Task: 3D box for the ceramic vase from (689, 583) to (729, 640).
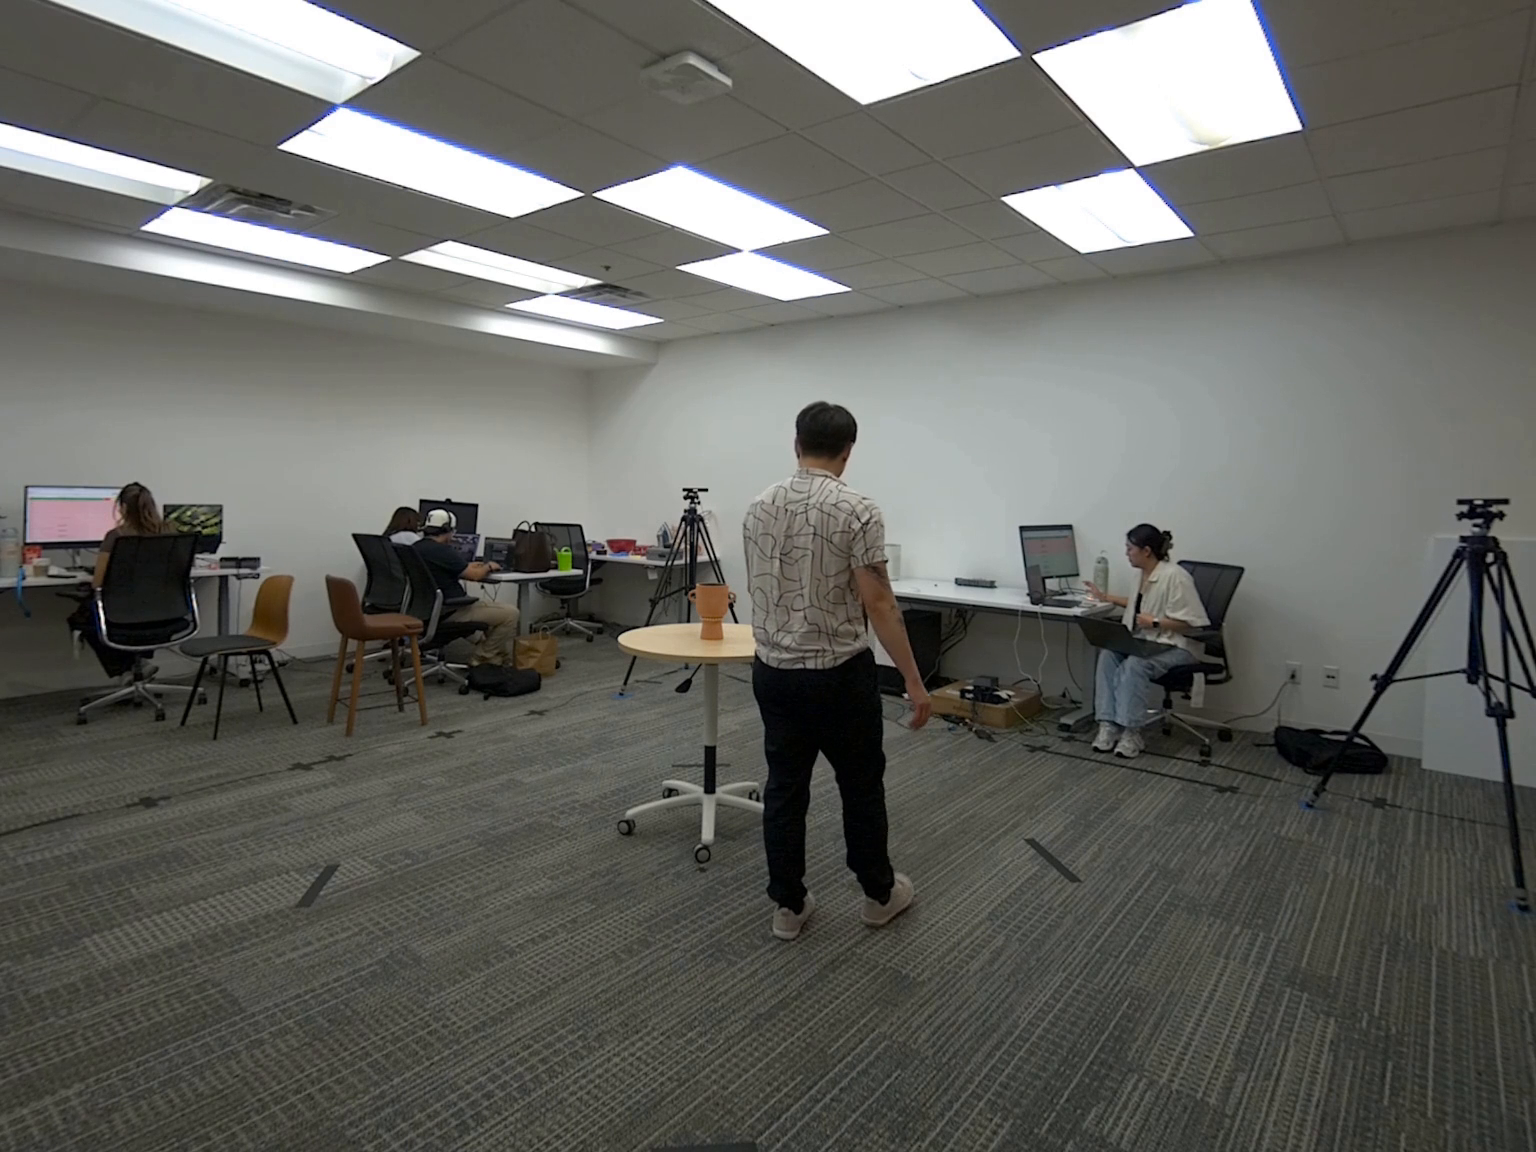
[{"bbox_3d":[-0.240,0.143,3.480,0.130,0.219,0.164,-3,6,-44],"label":"ceramic vase"}]
